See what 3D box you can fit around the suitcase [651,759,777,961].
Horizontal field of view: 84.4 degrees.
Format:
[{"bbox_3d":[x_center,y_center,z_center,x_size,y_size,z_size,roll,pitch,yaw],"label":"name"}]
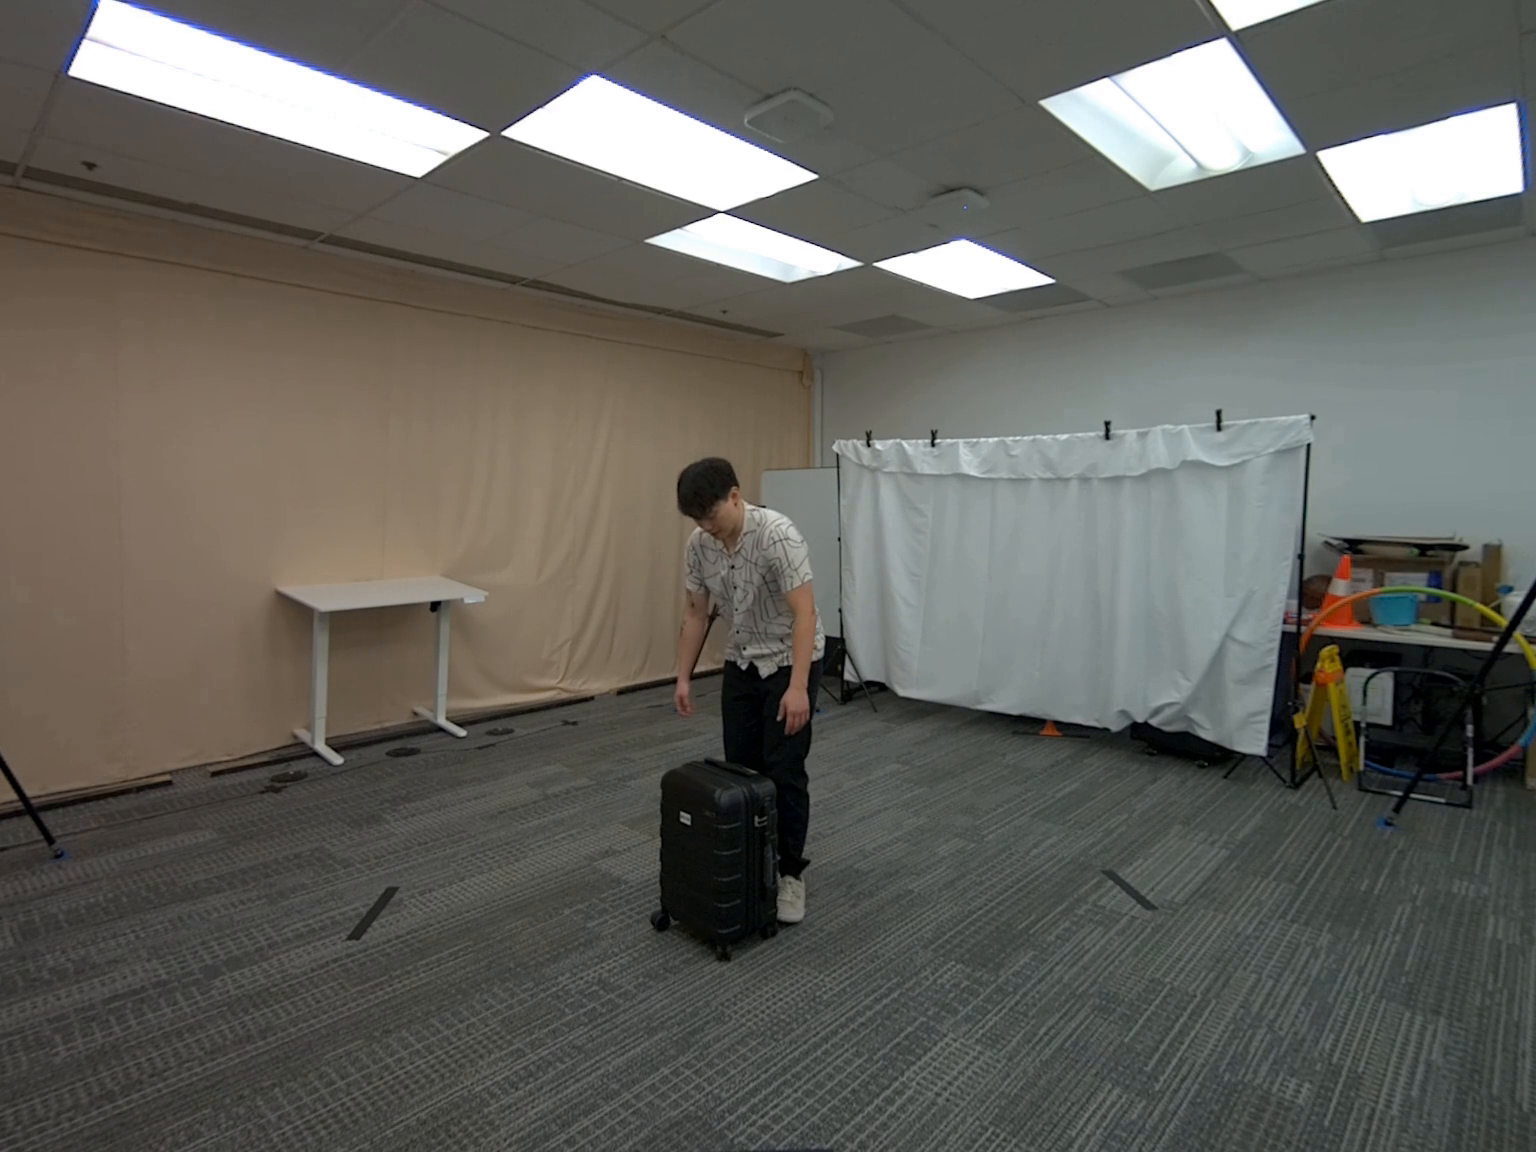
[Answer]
[{"bbox_3d":[-0.161,0.888,2.725,0.241,0.548,0.388,-3,6,-41],"label":"suitcase"}]
